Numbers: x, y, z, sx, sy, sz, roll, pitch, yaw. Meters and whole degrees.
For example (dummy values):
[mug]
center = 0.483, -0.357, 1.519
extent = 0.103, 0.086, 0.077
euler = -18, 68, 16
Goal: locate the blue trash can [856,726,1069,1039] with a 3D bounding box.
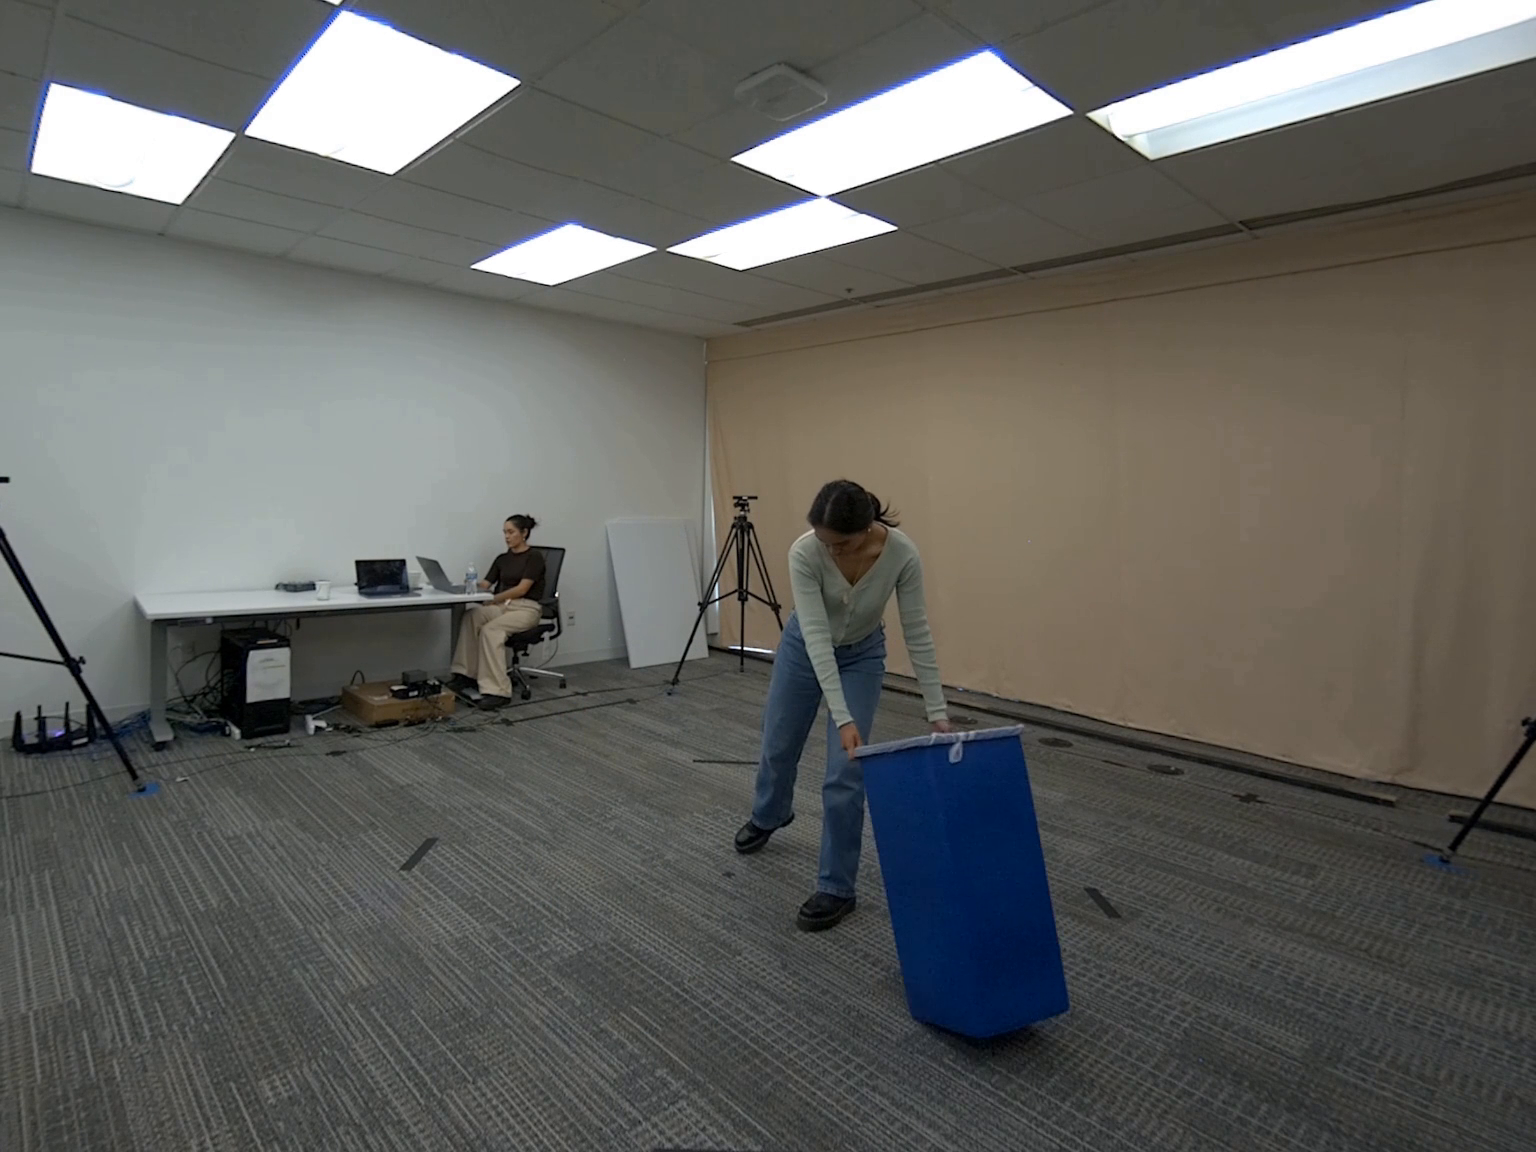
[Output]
[blue trash can]
center = 0.514, 0.809, 2.315
extent = 0.371, 0.723, 0.376
euler = 1, -17, -27
